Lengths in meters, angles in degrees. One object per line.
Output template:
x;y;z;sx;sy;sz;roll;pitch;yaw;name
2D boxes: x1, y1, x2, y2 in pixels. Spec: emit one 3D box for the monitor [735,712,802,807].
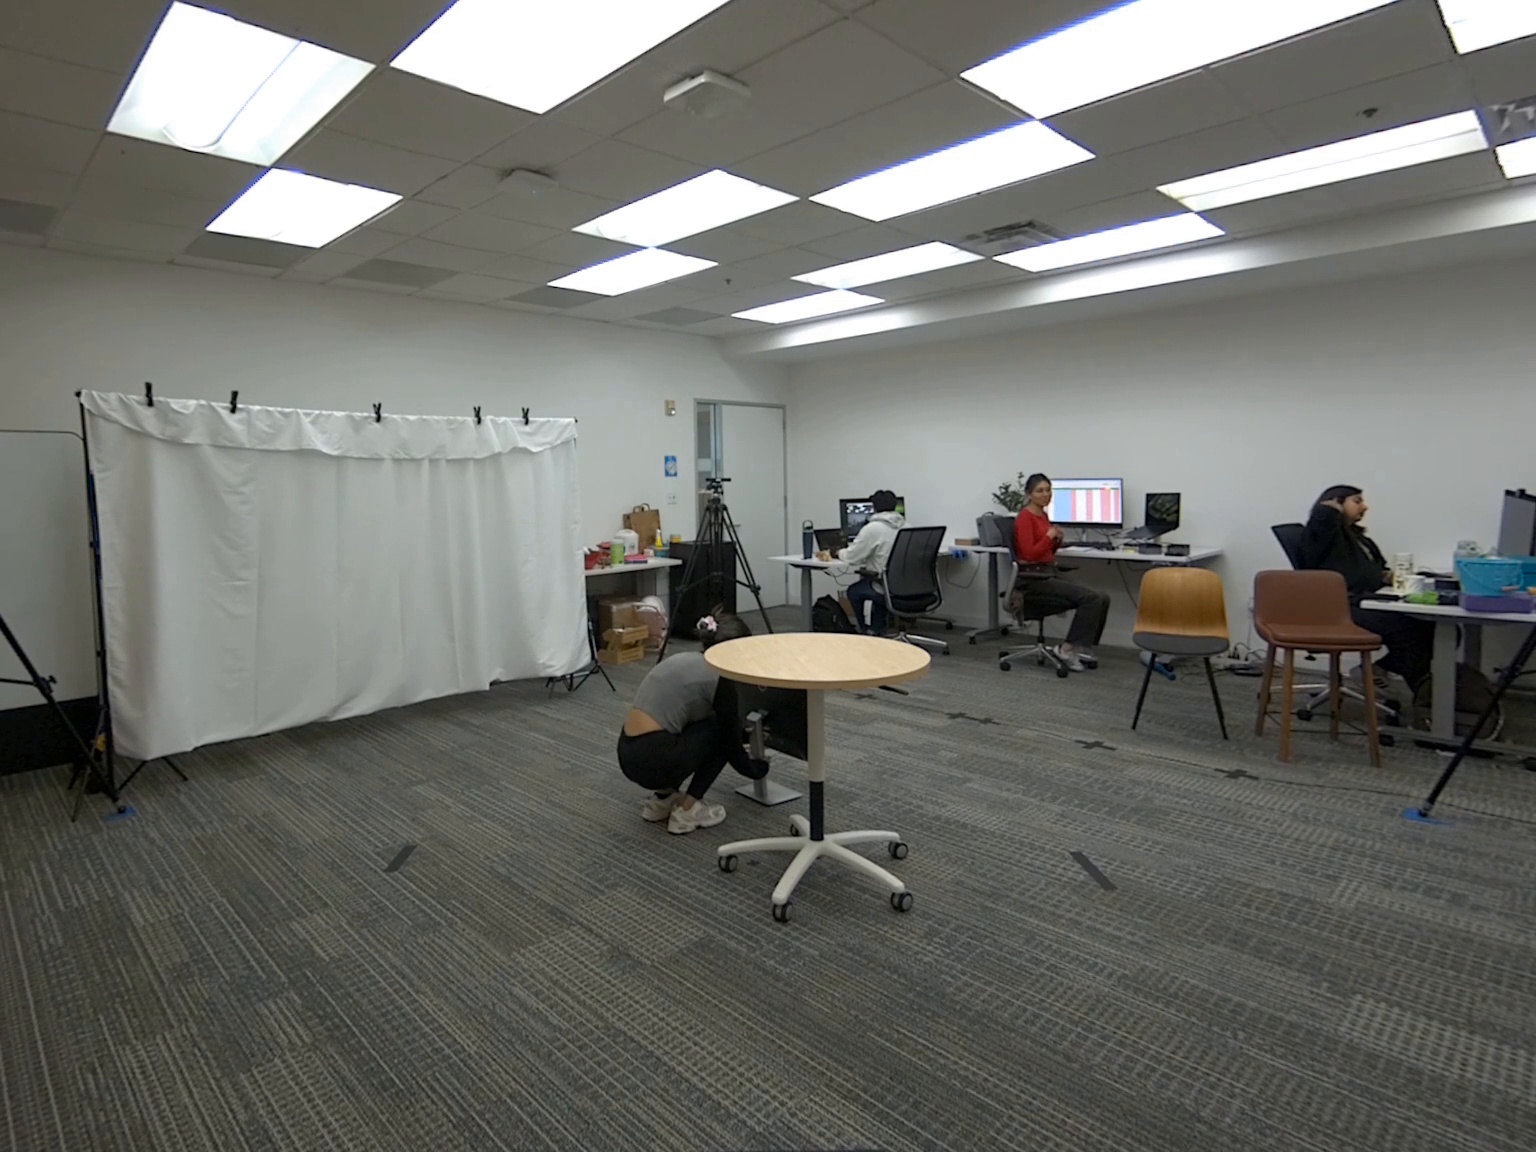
-0.002;0.704;3.782;0.182;0.521;0.555;-2;4;-40;monitor
